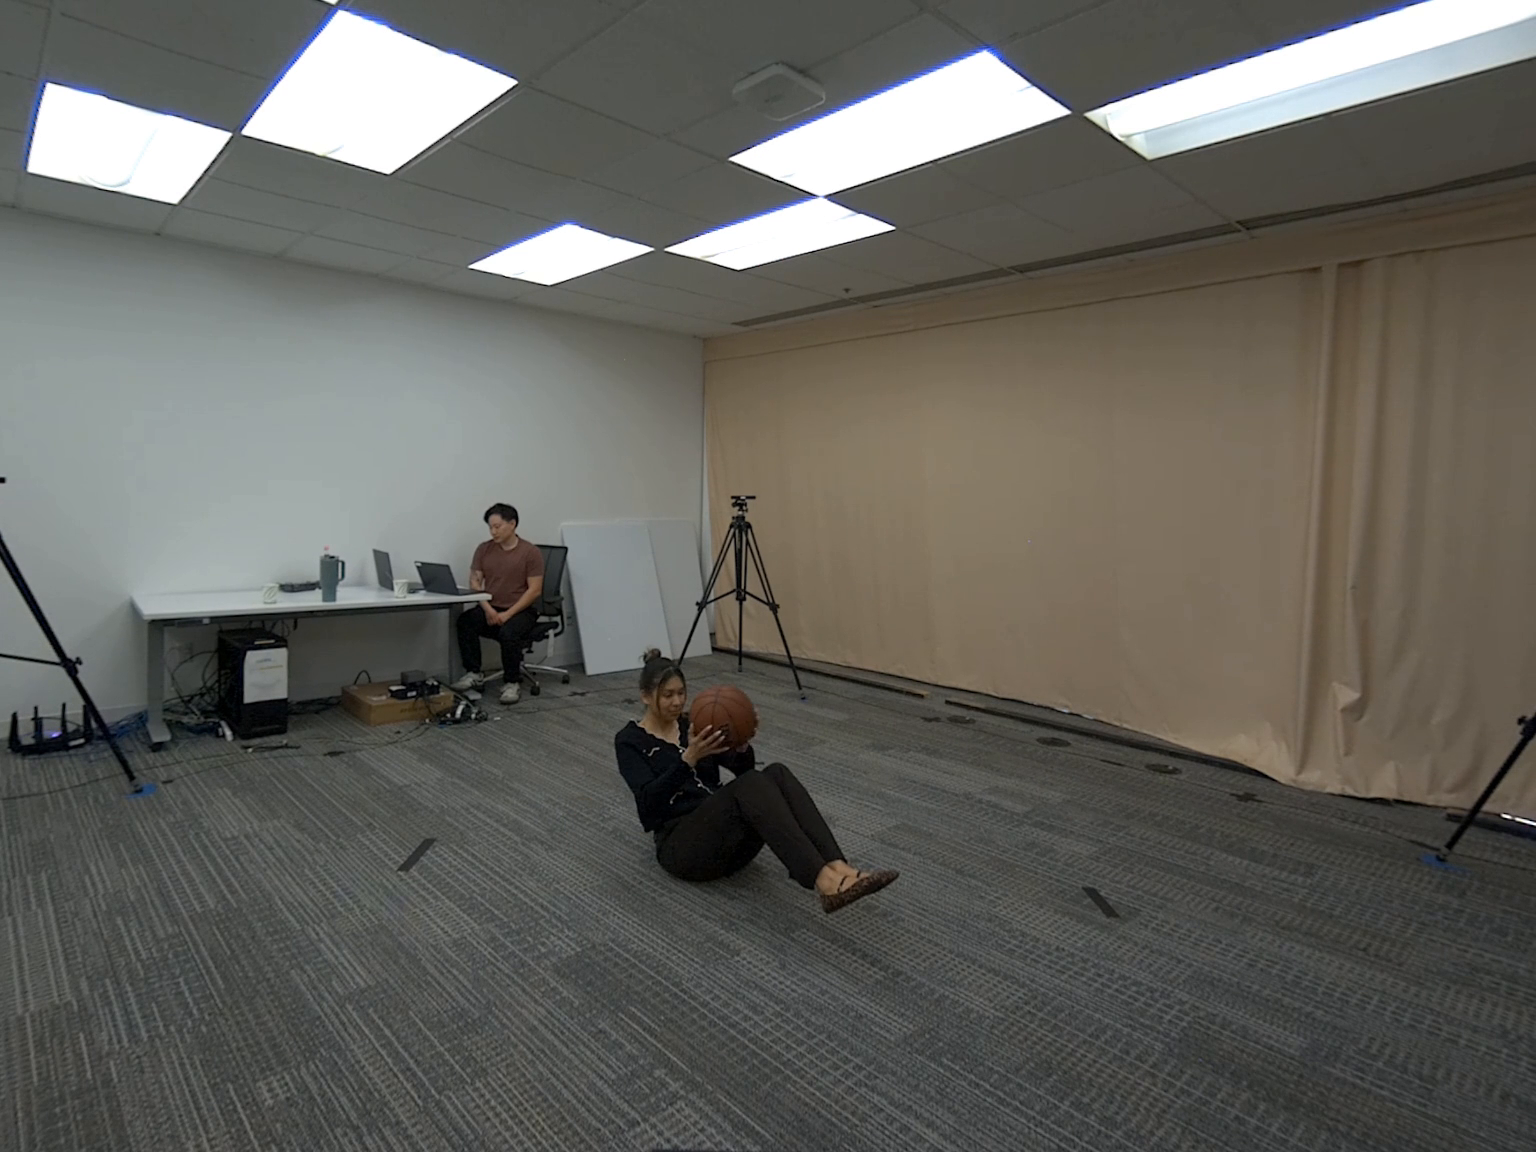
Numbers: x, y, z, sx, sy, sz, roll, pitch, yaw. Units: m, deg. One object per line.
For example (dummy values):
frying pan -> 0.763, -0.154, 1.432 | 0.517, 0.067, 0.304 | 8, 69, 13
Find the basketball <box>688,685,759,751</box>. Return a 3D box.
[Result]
basketball -> -0.177, 0.516, 2.984 | 0.236, 0.235, 0.237 | 1, 4, -1
